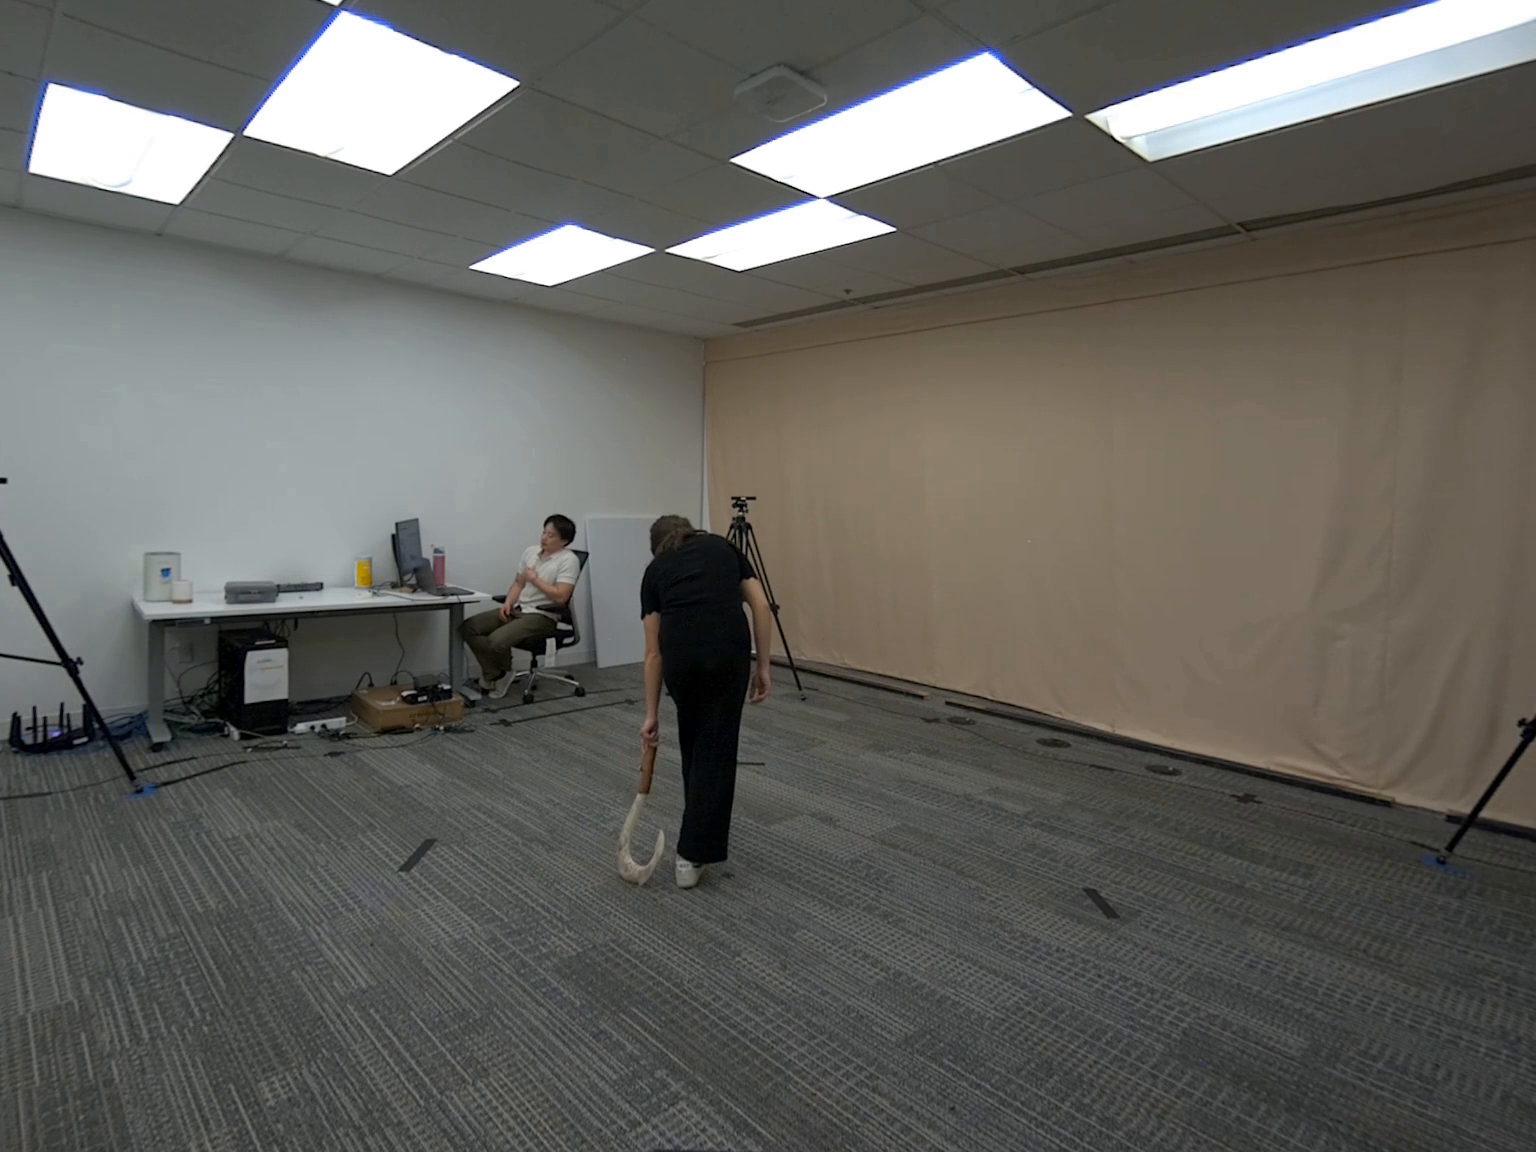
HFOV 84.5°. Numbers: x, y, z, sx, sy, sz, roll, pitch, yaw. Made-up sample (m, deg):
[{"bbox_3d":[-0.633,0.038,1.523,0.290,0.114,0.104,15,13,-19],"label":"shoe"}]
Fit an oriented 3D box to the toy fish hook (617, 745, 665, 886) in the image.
[{"bbox_3d":[-0.444,0.857,3.089,0.230,0.511,0.047,0,-18,36],"label":"toy fish hook"}]
